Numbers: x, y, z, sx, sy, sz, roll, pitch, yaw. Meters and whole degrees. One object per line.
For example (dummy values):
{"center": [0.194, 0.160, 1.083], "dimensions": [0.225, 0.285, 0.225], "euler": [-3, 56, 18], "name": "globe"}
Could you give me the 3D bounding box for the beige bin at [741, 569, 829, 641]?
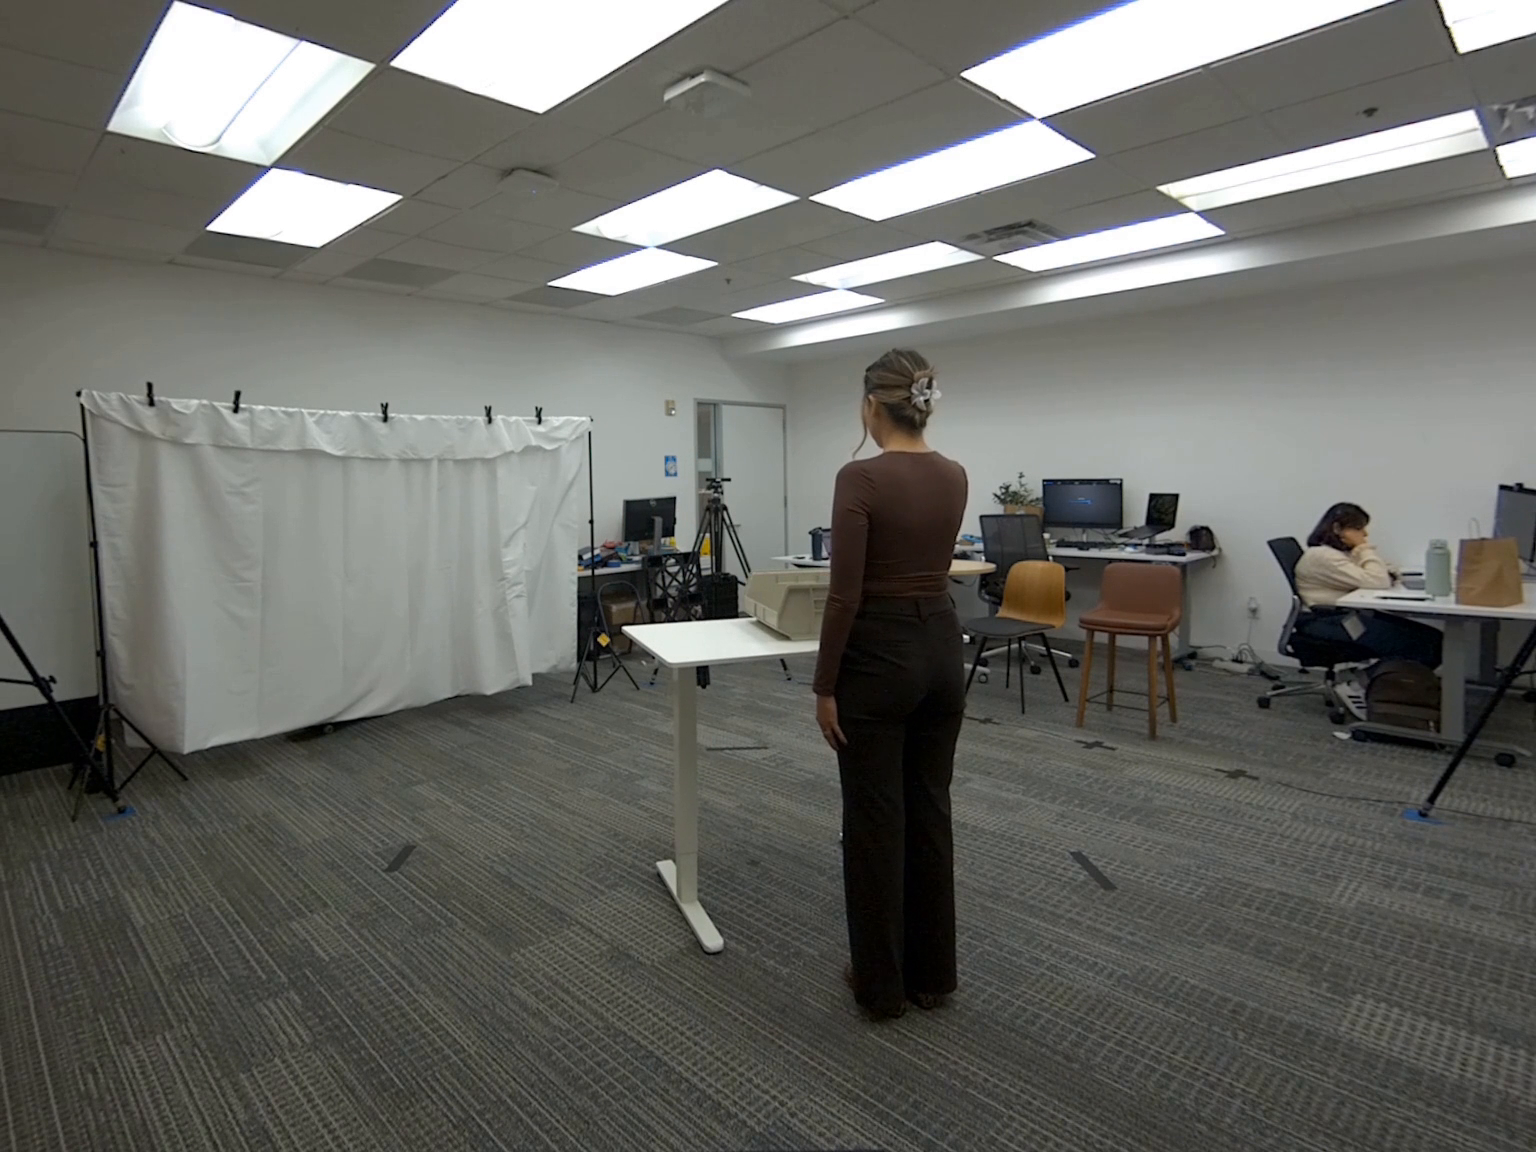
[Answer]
{"center": [0.148, 0.091, 2.903], "dimensions": [0.372, 0.188, 0.430], "euler": [-1, 5, -16], "name": "beige bin"}
